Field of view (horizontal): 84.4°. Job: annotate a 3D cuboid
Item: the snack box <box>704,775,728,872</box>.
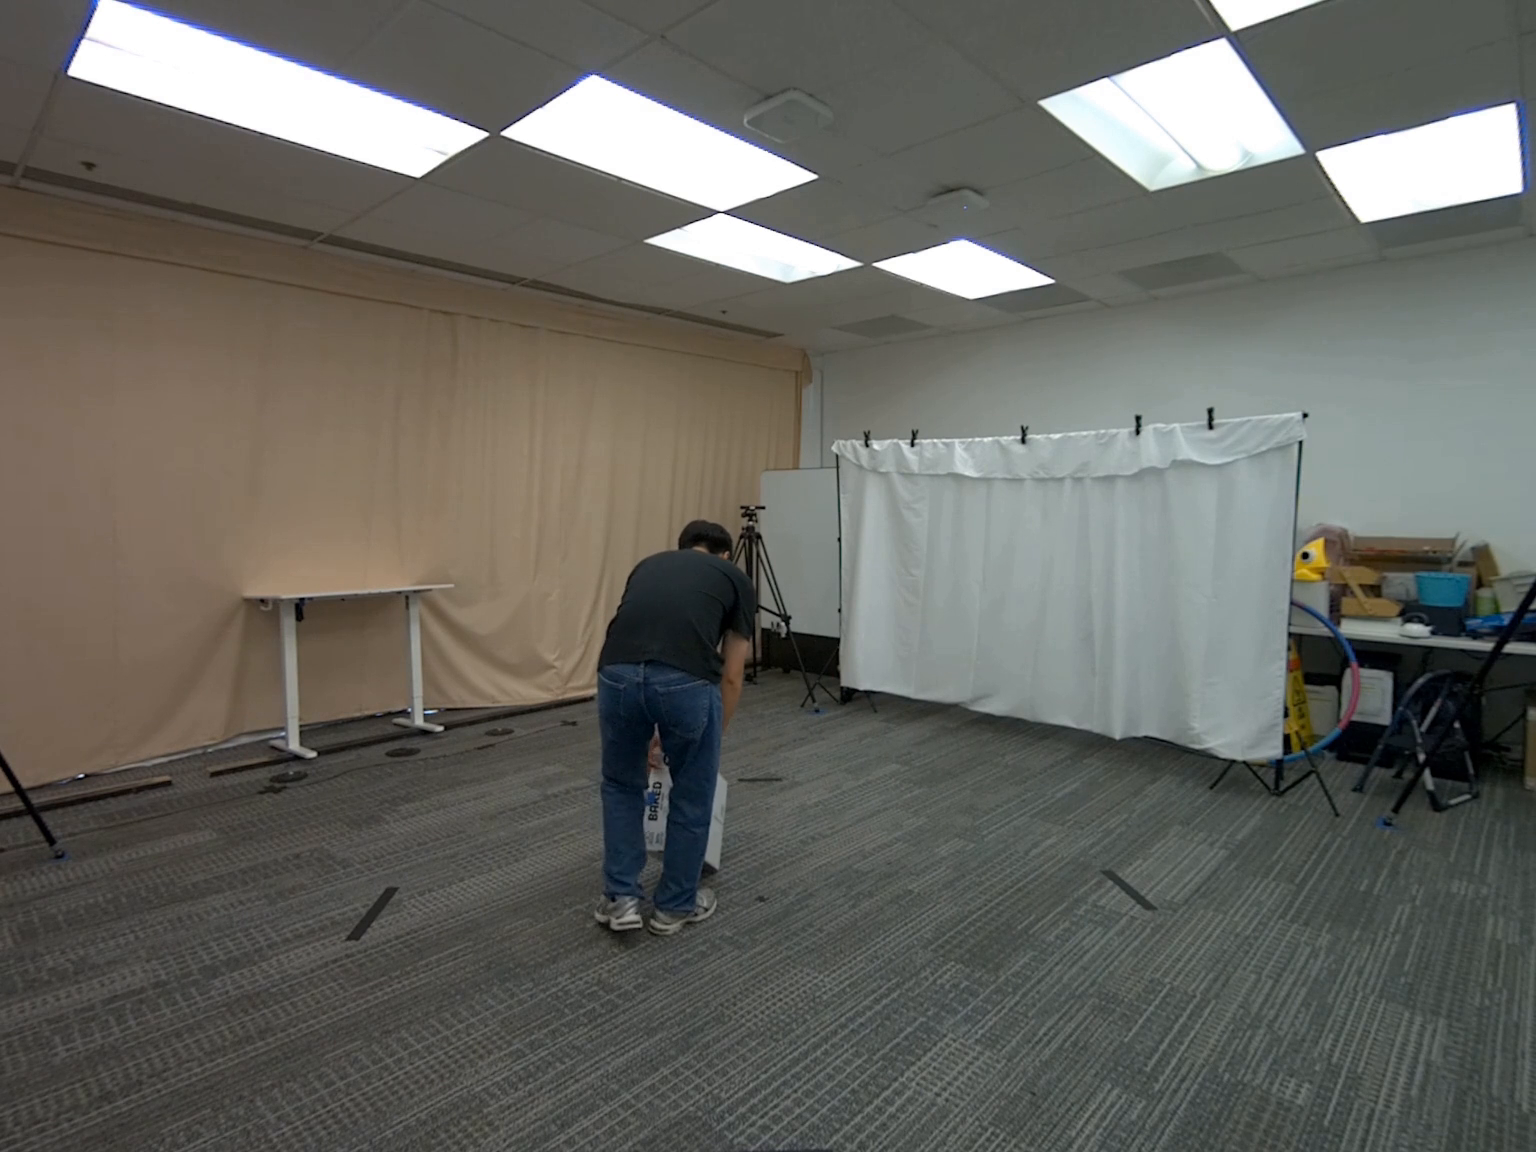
[{"bbox_3d":[-0.303,0.884,3.137,0.208,0.344,0.395,0,-27,12],"label":"snack box"}]
